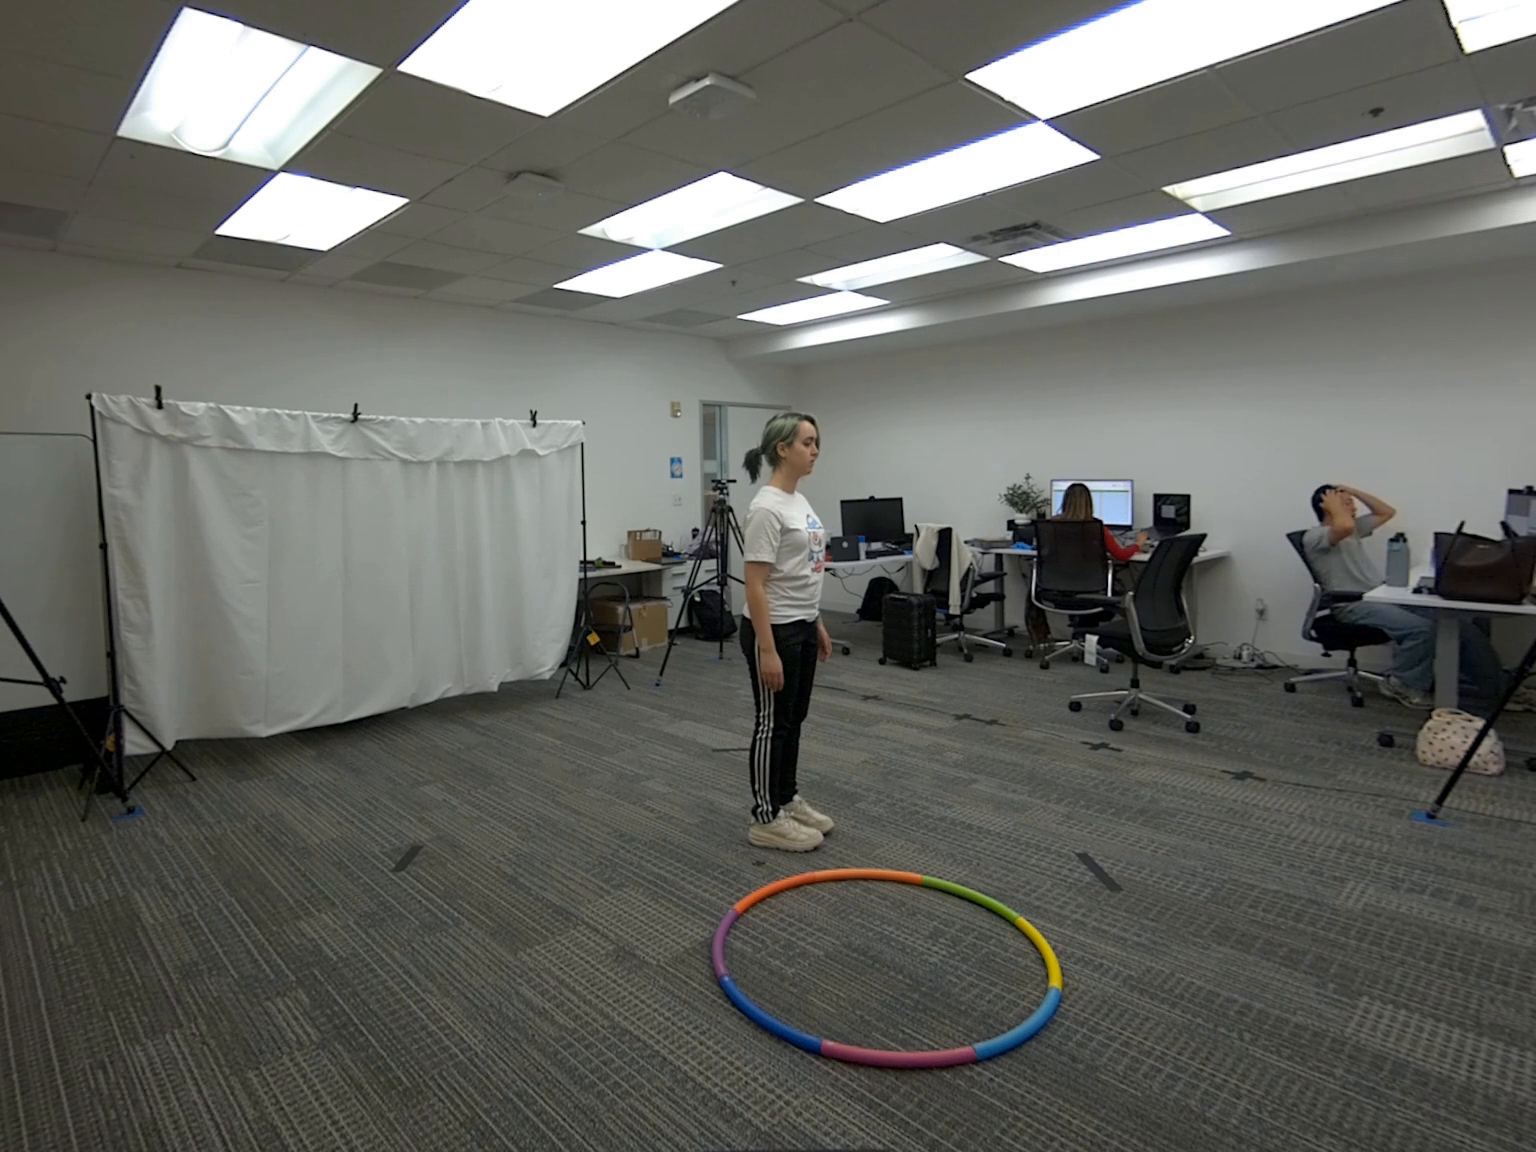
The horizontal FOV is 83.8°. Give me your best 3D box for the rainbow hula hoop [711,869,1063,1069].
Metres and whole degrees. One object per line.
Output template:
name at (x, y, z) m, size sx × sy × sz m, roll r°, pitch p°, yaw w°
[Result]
rainbow hula hoop at (0.331, 1.086, 2.498) m, size 0.985 × 0.051 × 0.990 m, roll -2°, pitch 6°, yaw -2°
